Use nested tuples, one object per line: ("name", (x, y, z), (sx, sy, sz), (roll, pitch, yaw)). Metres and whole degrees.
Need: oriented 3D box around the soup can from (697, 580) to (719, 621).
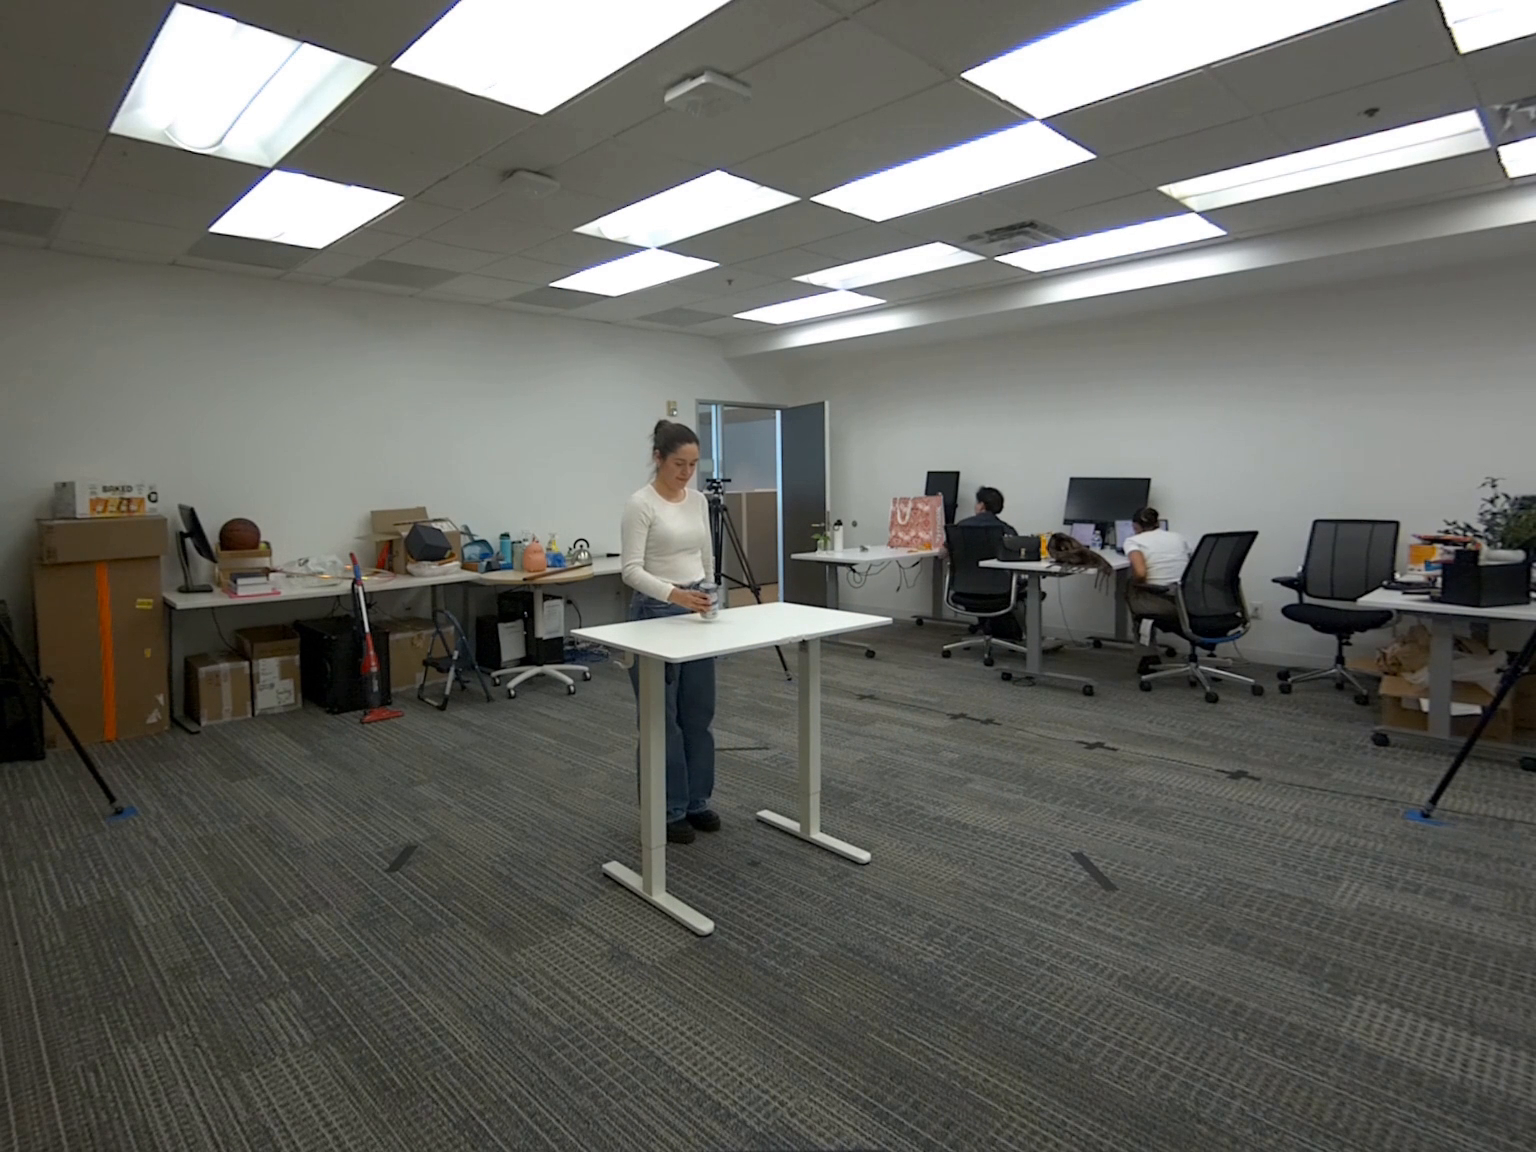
("soup can", (-0.223, 0.088, 3.065), (0.067, 0.120, 0.068), (1, 12, -2))
